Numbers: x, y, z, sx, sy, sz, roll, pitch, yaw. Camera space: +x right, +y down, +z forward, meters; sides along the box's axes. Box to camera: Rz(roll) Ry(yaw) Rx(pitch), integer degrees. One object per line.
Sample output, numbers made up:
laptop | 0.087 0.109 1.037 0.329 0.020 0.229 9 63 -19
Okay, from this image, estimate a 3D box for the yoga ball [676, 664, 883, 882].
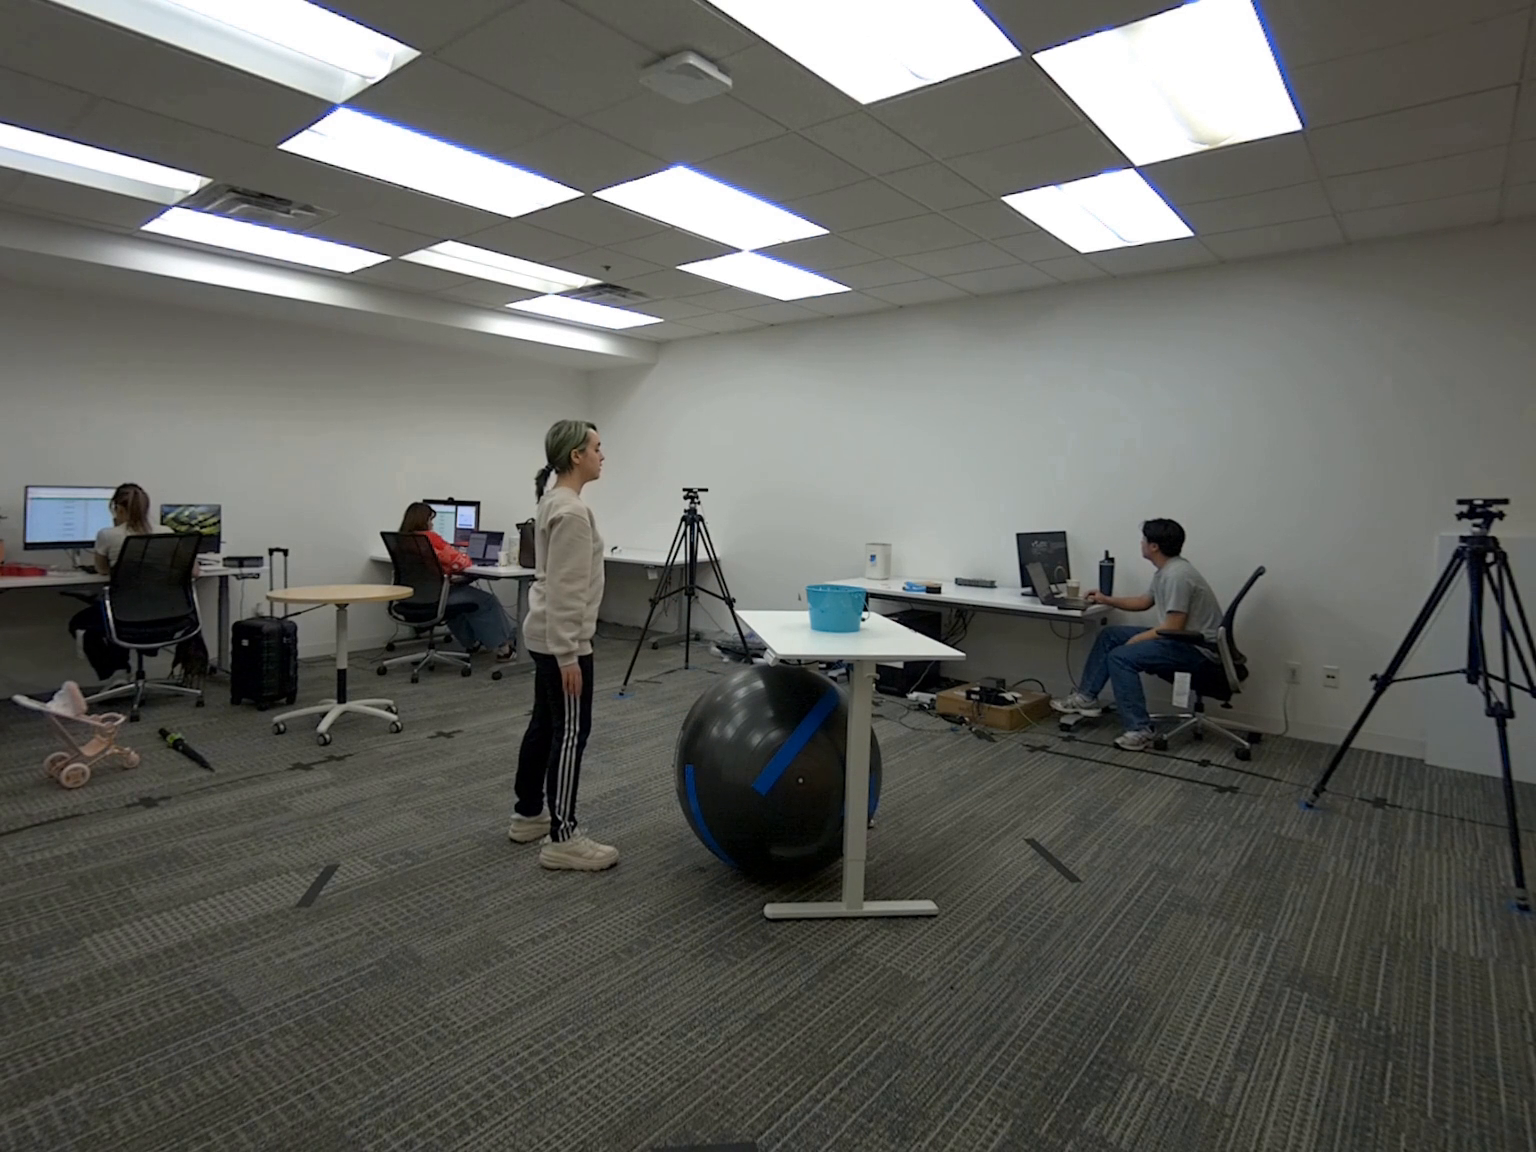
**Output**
yoga ball | 0.027 0.703 3.119 0.757 0.755 0.762 1 4 -2
